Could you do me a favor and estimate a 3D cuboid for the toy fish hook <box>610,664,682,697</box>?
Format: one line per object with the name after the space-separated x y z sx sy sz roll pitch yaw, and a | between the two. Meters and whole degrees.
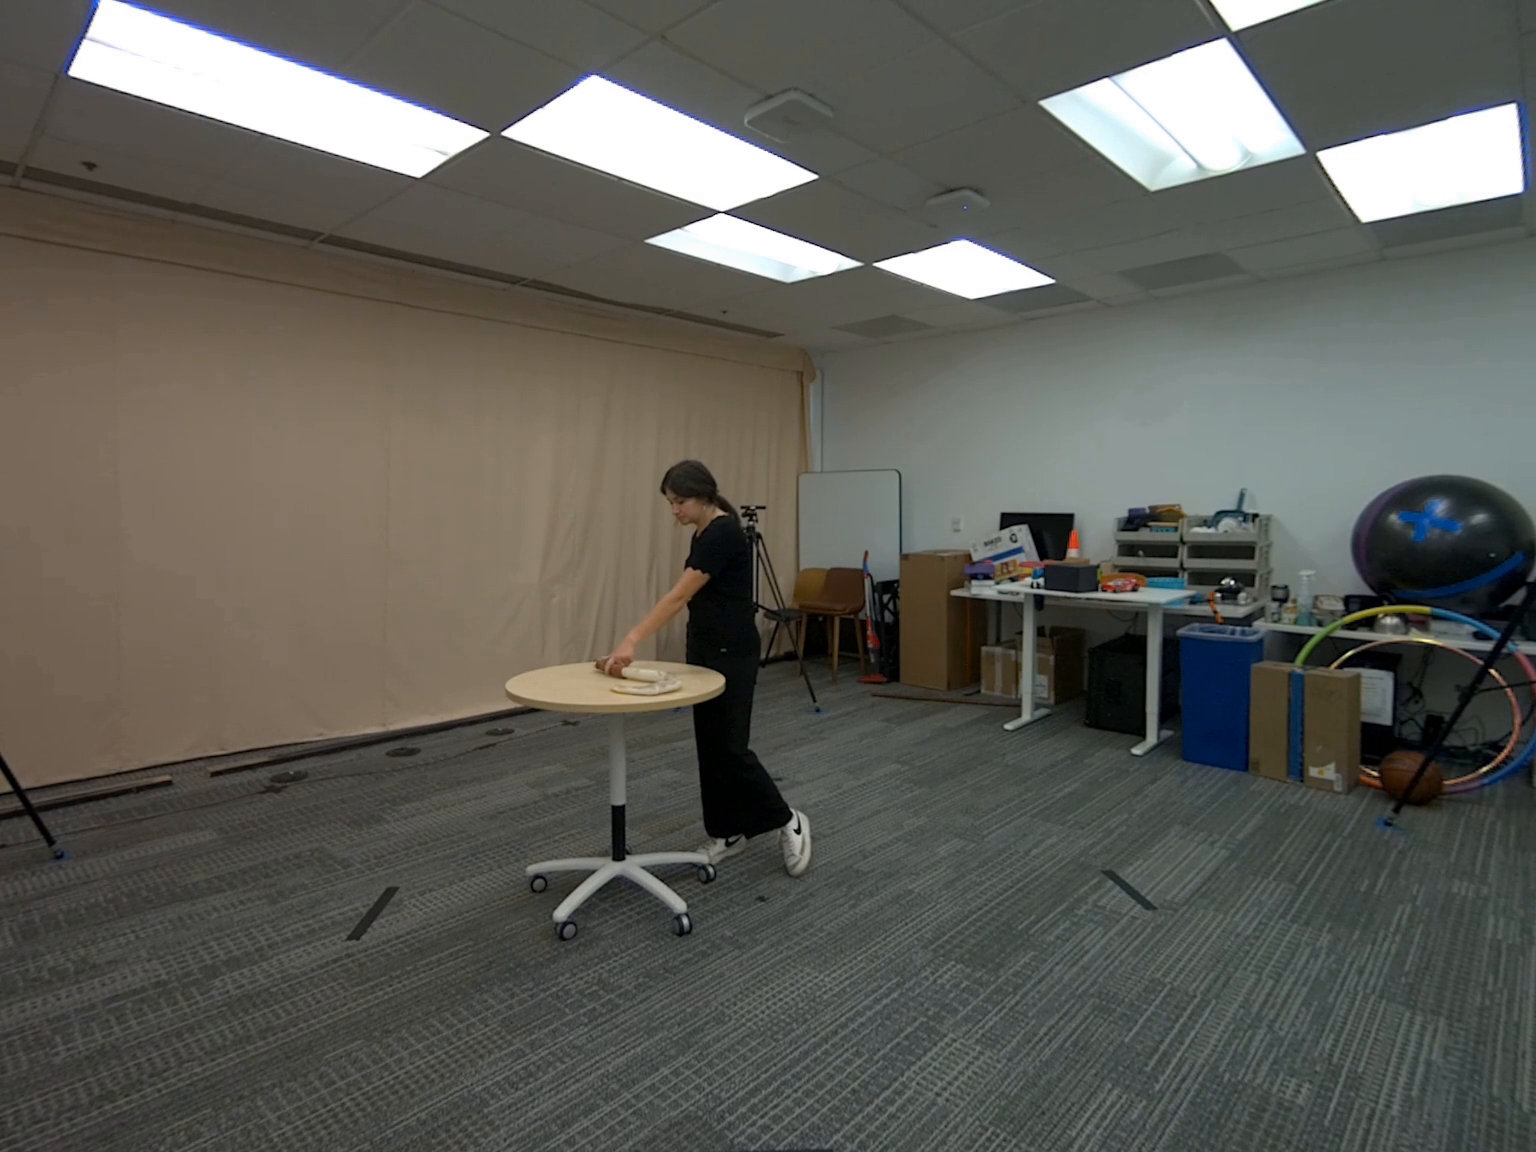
-0.509 0.346 2.905 0.218 0.048 0.523 1 3 -37 | toy fish hook
